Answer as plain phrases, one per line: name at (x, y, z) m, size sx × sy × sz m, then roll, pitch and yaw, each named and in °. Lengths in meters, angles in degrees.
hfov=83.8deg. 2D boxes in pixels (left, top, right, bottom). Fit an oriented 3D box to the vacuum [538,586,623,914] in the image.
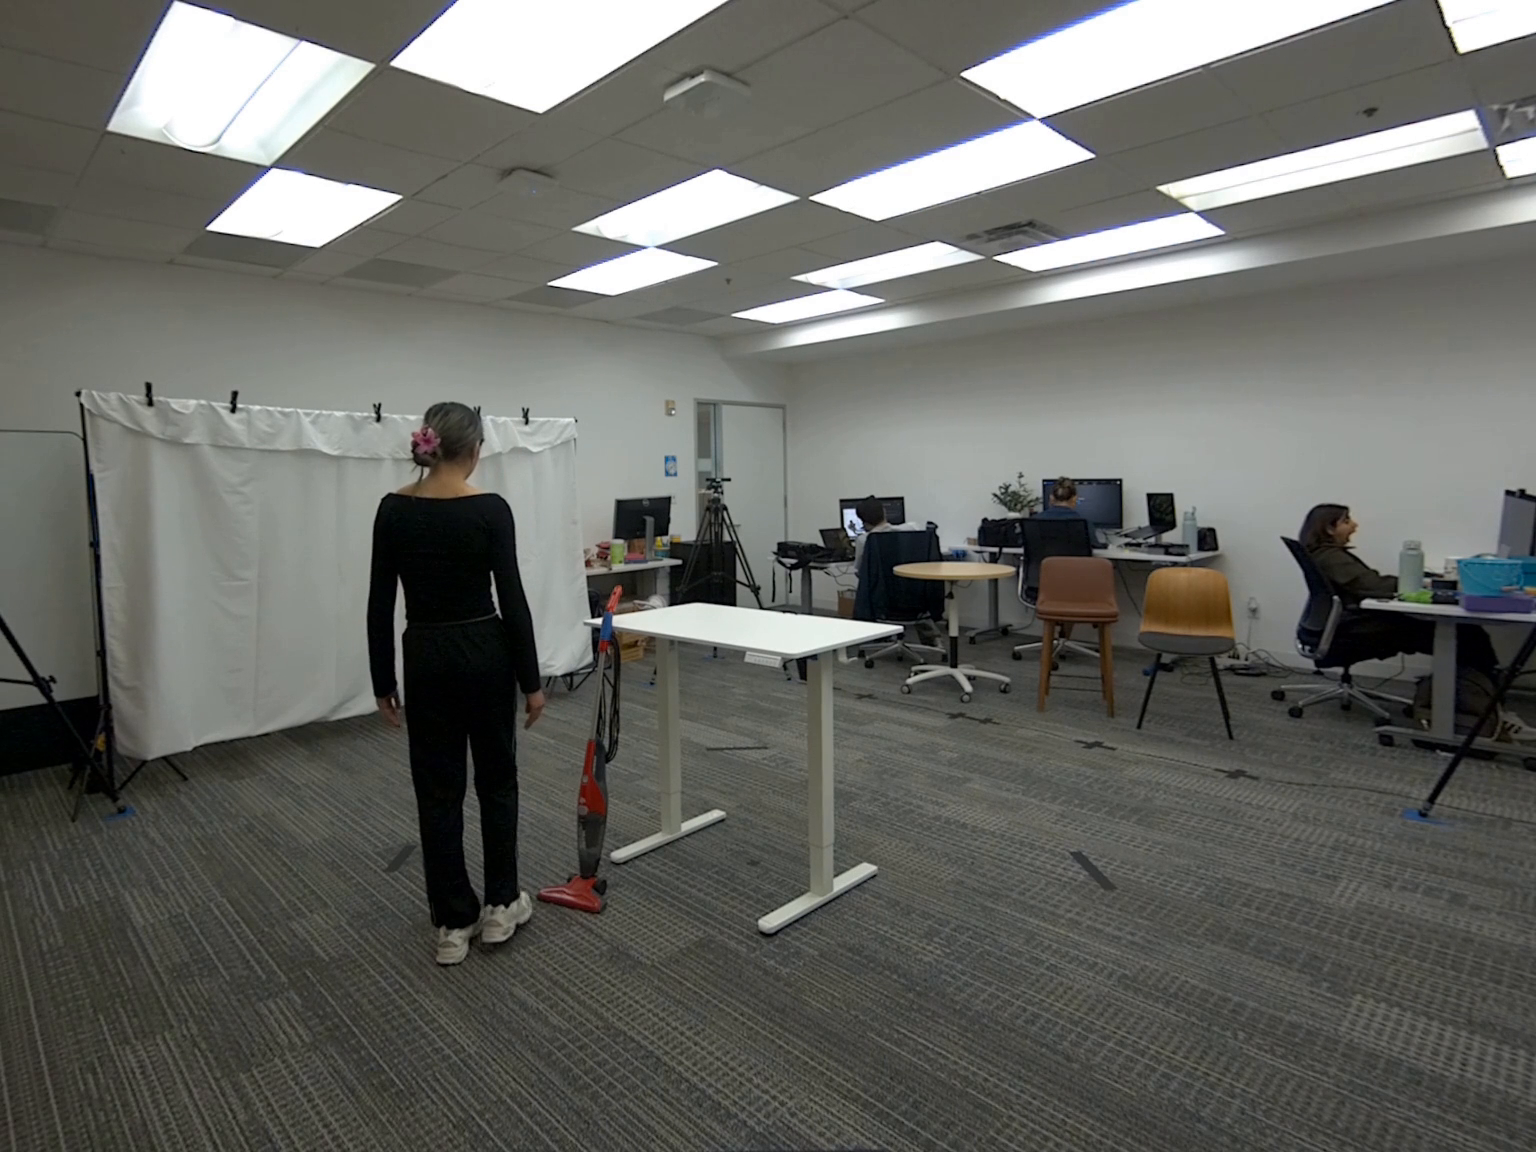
vacuum at (-0.586, 0.568, 2.980) m, size 0.259 × 1.060 × 0.139 m, roll -1°, pitch -14°, yaw 29°
